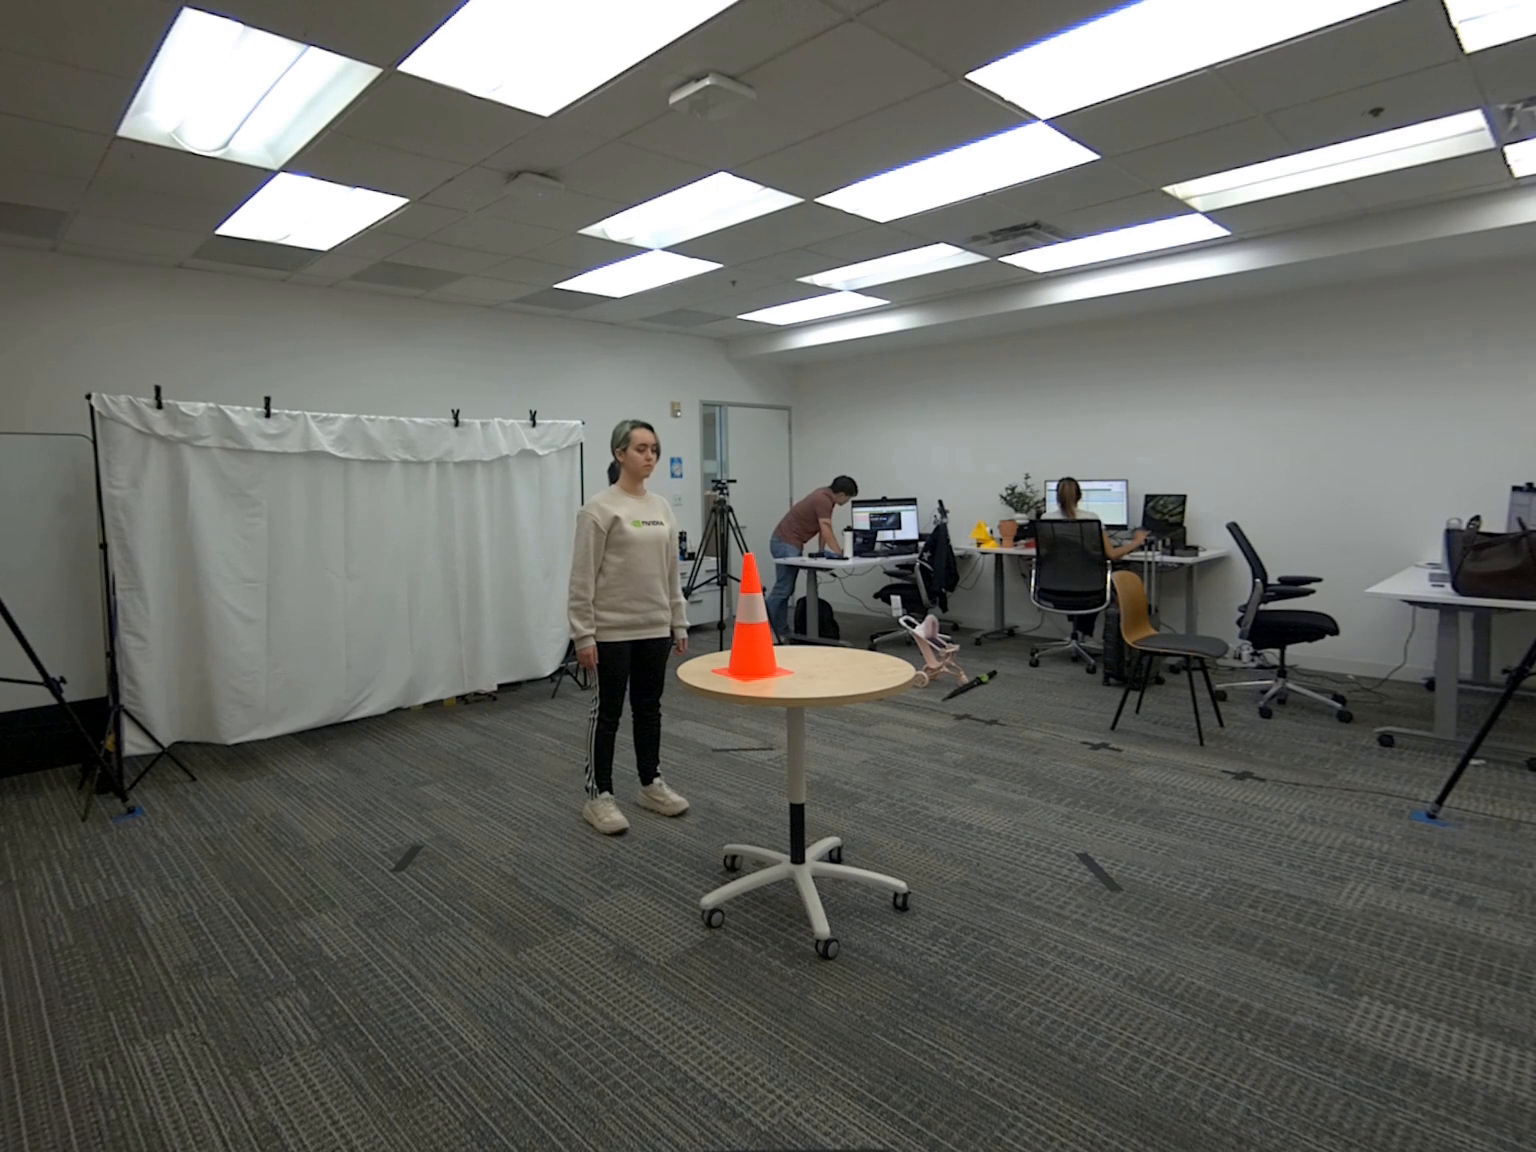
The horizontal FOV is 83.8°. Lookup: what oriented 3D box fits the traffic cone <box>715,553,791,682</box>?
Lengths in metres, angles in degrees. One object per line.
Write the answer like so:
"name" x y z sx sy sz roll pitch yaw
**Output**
"traffic cone" -0.057 0.121 2.714 0.209 0.382 0.200 2 6 43
